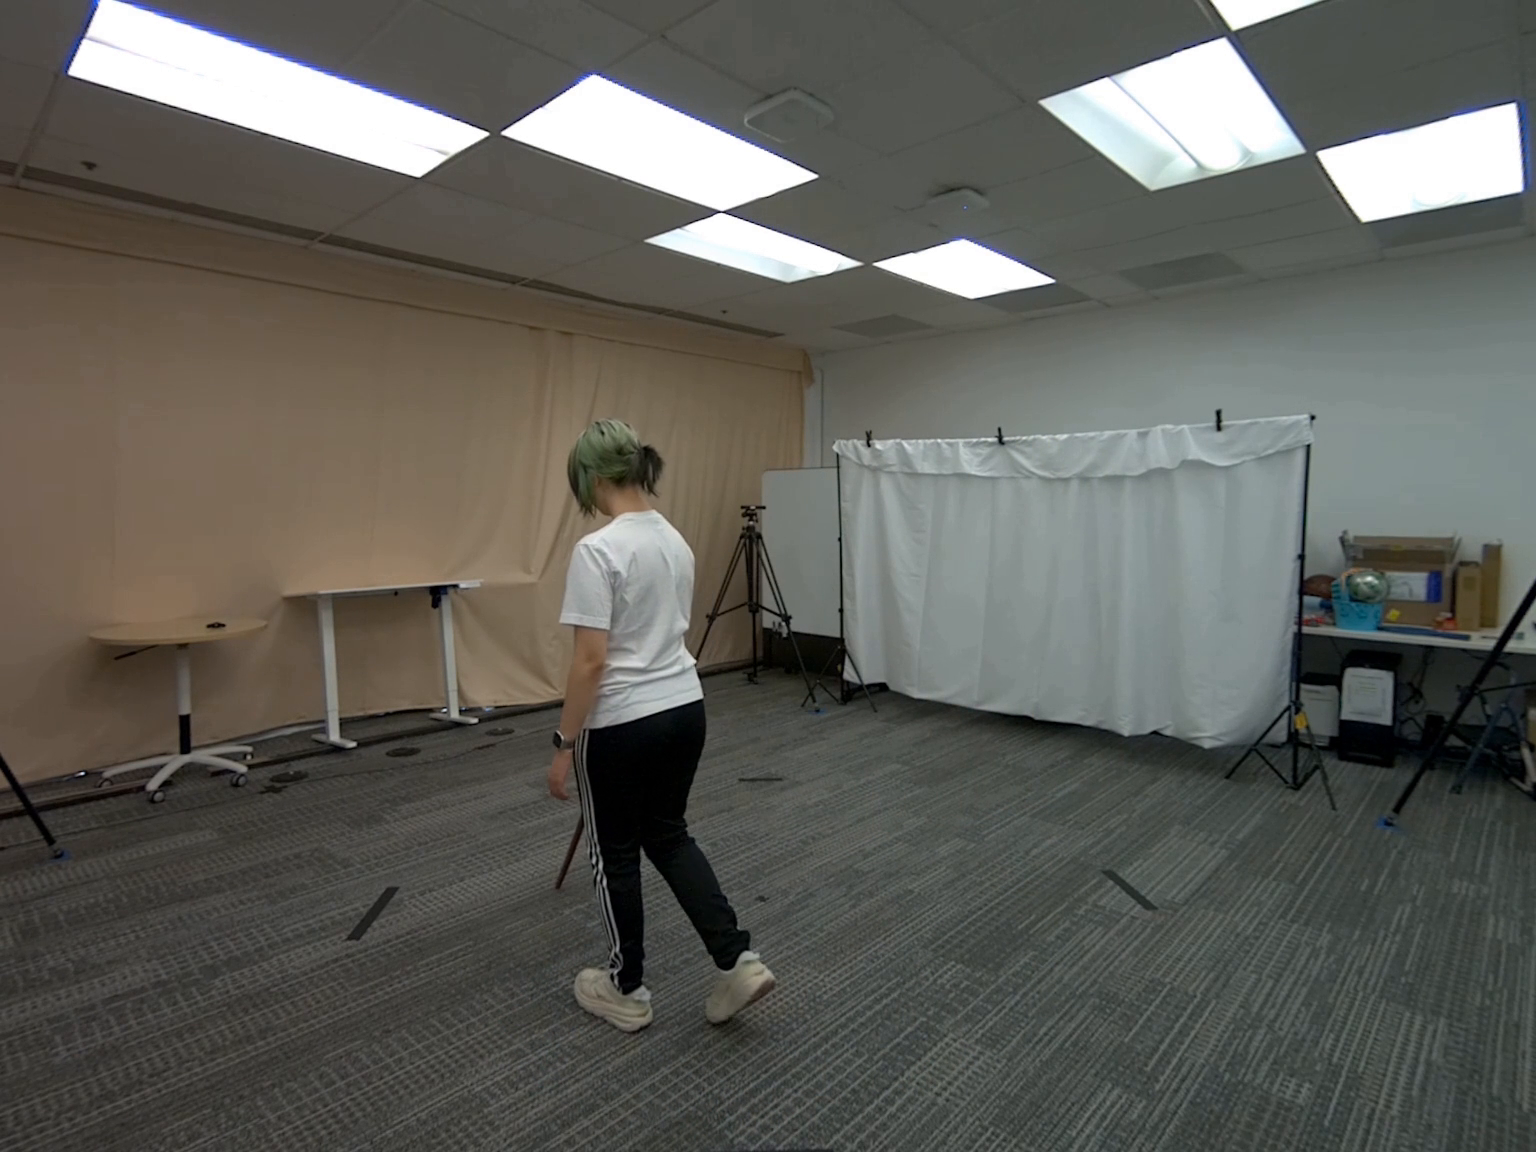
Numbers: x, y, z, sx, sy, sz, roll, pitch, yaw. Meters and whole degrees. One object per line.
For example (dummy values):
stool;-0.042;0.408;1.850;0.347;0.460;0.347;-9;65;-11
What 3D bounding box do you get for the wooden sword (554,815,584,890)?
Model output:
wooden sword;-0.615;0.792;2.766;0.024;1.021;0.051;33;38;8
